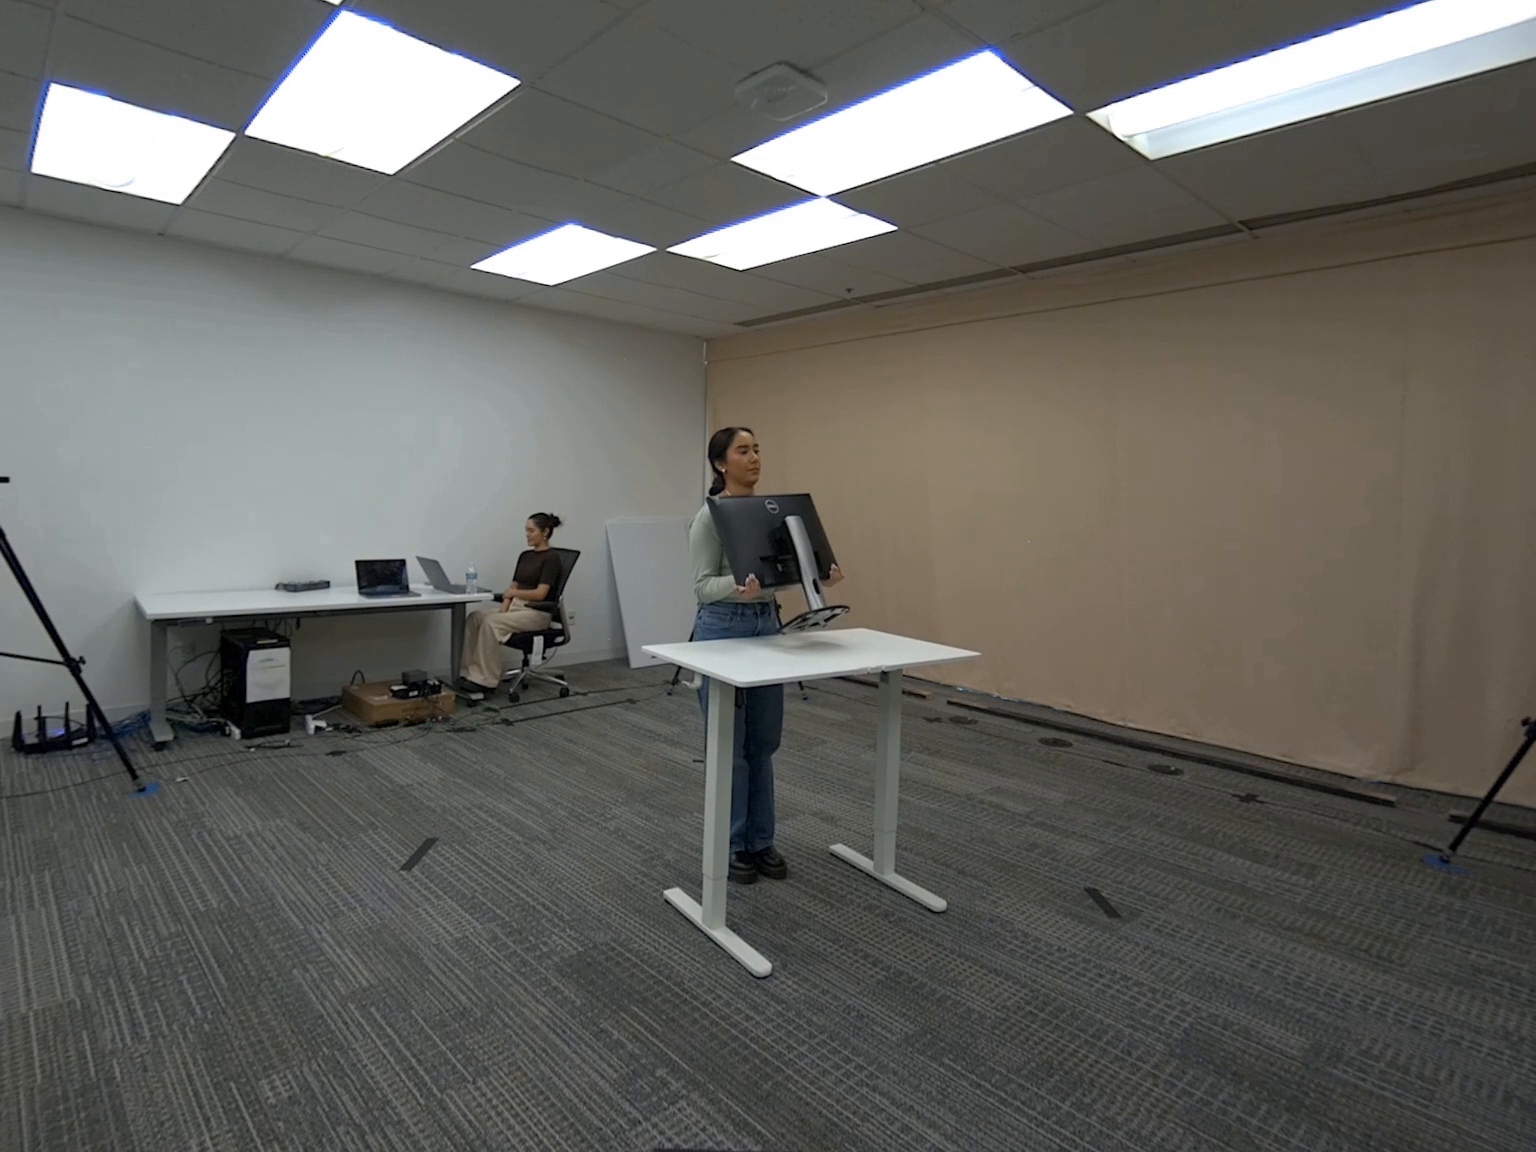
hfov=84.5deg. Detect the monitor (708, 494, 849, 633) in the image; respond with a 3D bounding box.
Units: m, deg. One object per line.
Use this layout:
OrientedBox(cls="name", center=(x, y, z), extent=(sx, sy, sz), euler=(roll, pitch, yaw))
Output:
OrientedBox(cls="monitor", center=(0.061, -0.070, 2.983), extent=(0.527, 0.533, 0.187), euler=(-5, -31, -45))
